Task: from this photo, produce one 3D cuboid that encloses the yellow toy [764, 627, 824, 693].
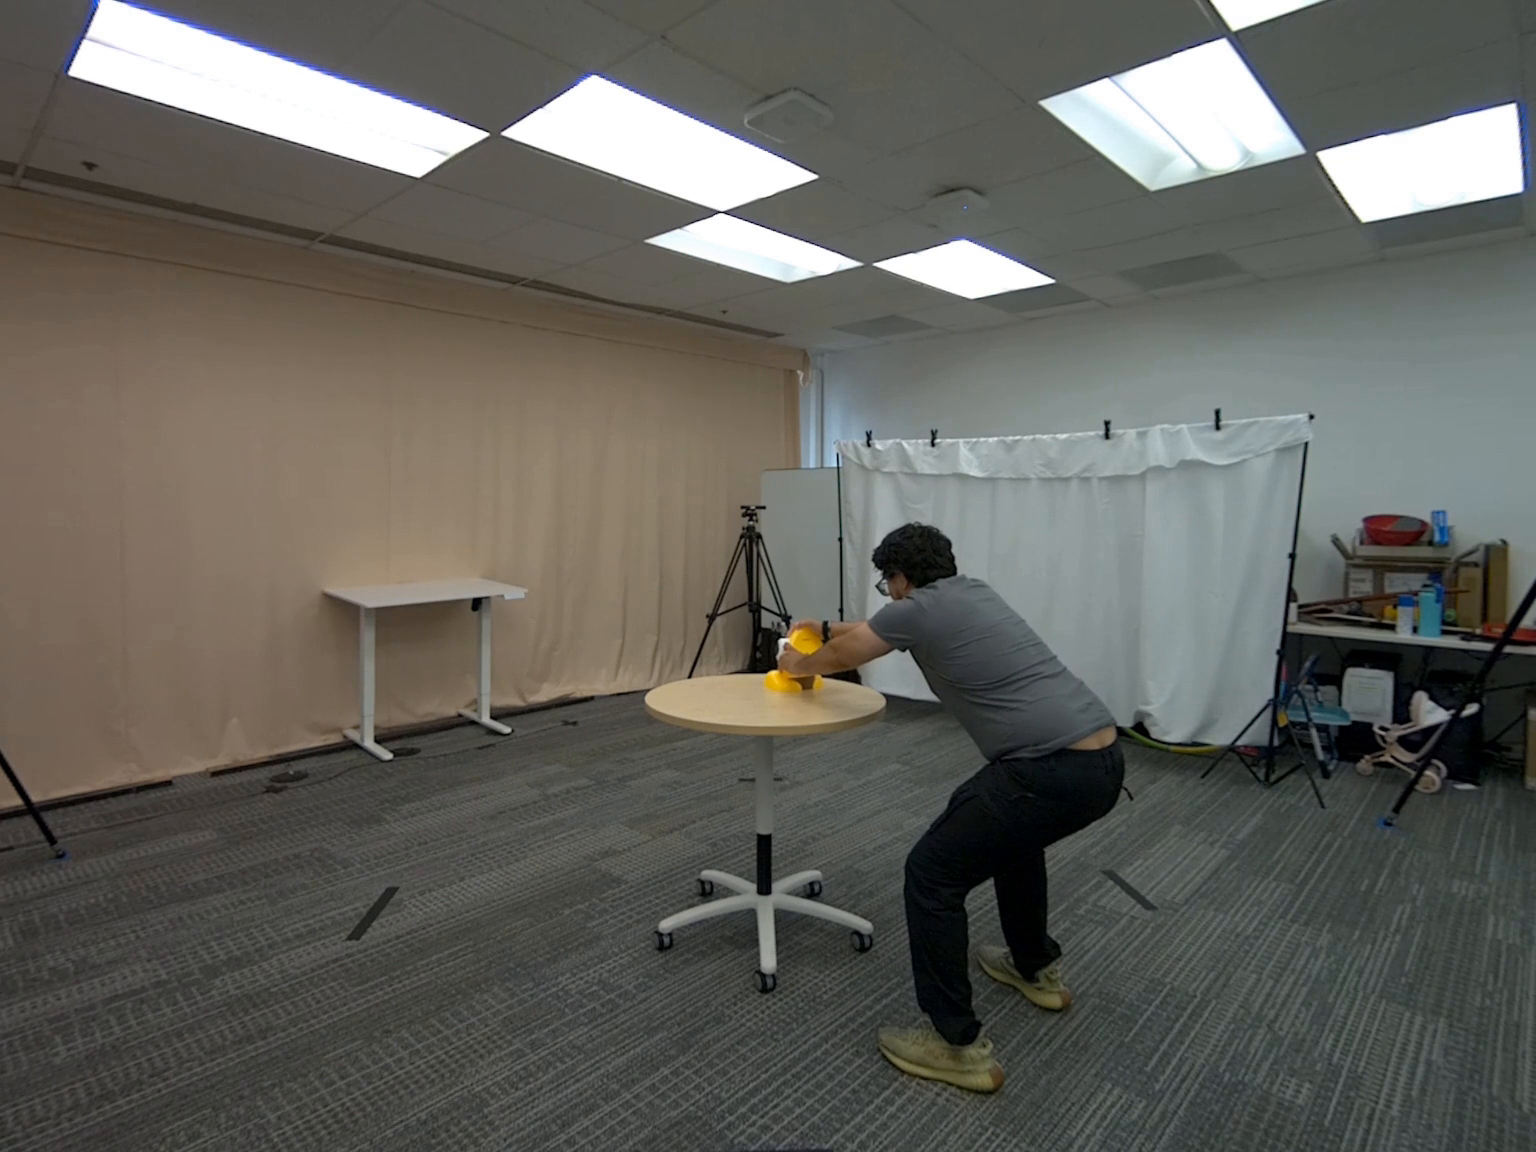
[{"bbox_3d":[0.095,0.266,2.857,0.199,0.230,0.199,-2,4,-33],"label":"yellow toy"}]
